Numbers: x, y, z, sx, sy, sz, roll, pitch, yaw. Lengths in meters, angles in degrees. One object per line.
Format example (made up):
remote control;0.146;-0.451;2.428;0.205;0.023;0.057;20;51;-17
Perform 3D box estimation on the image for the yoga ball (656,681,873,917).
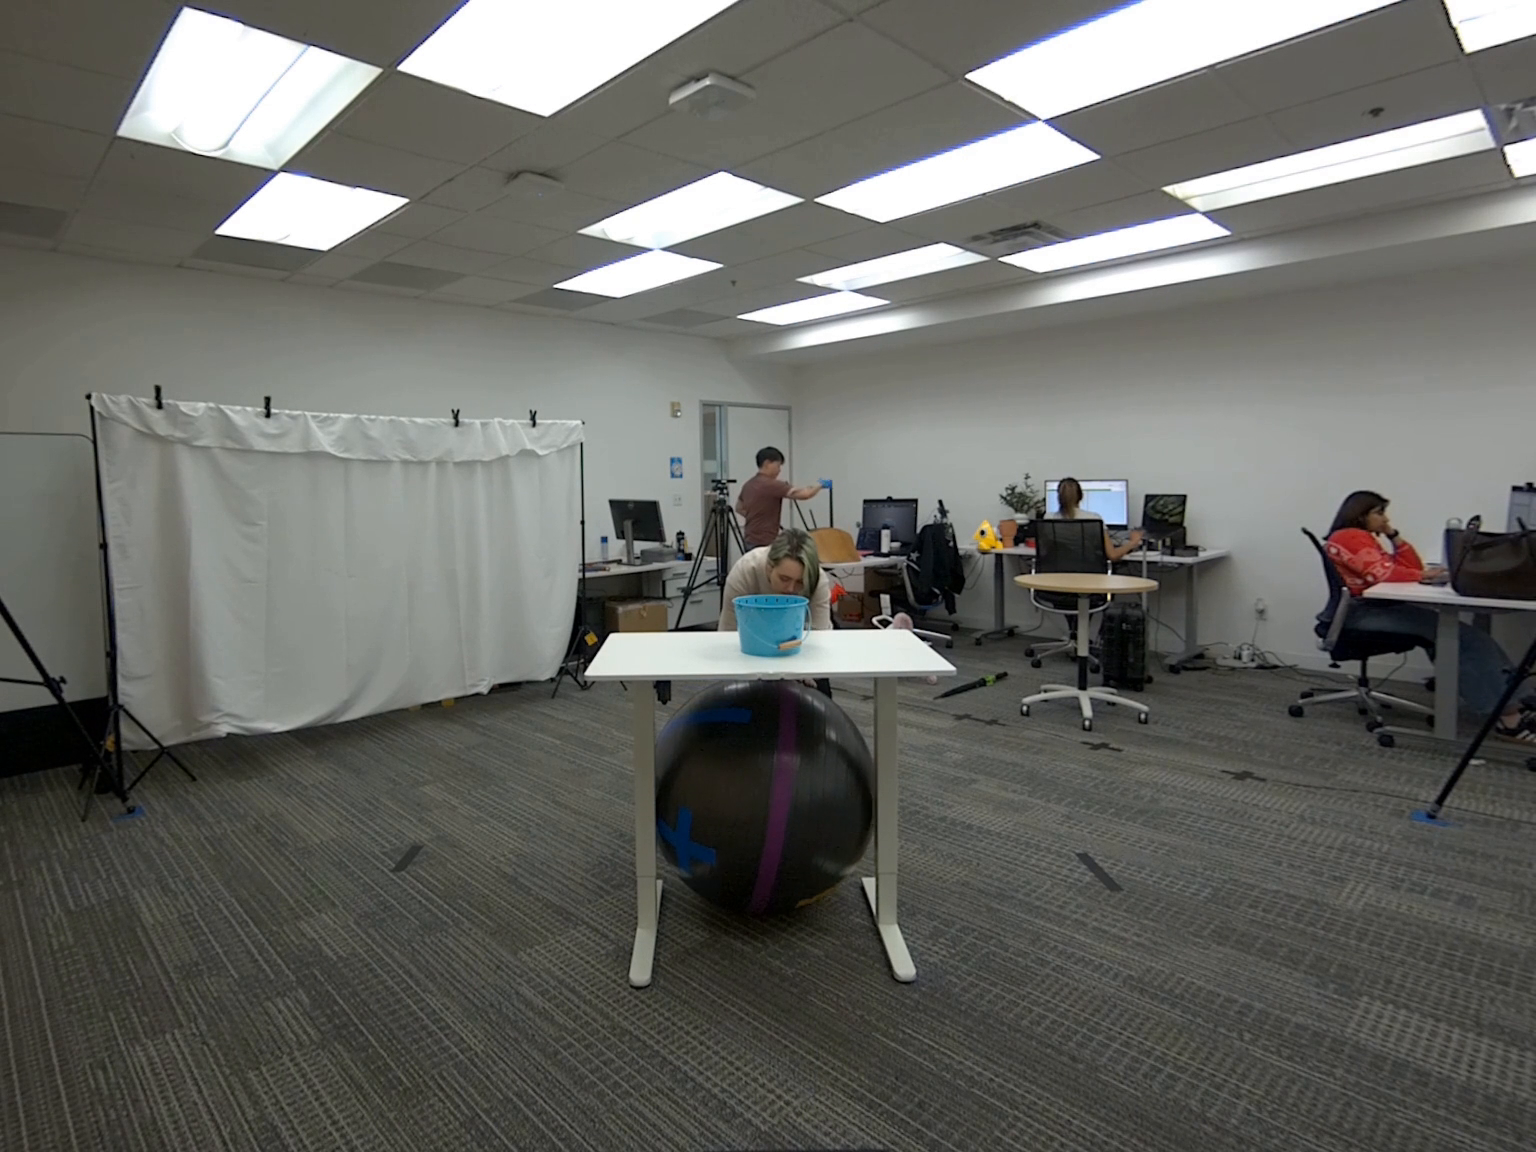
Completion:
yoga ball;-0.021;0.708;2.821;0.757;0.755;0.762;-1;5;-2
